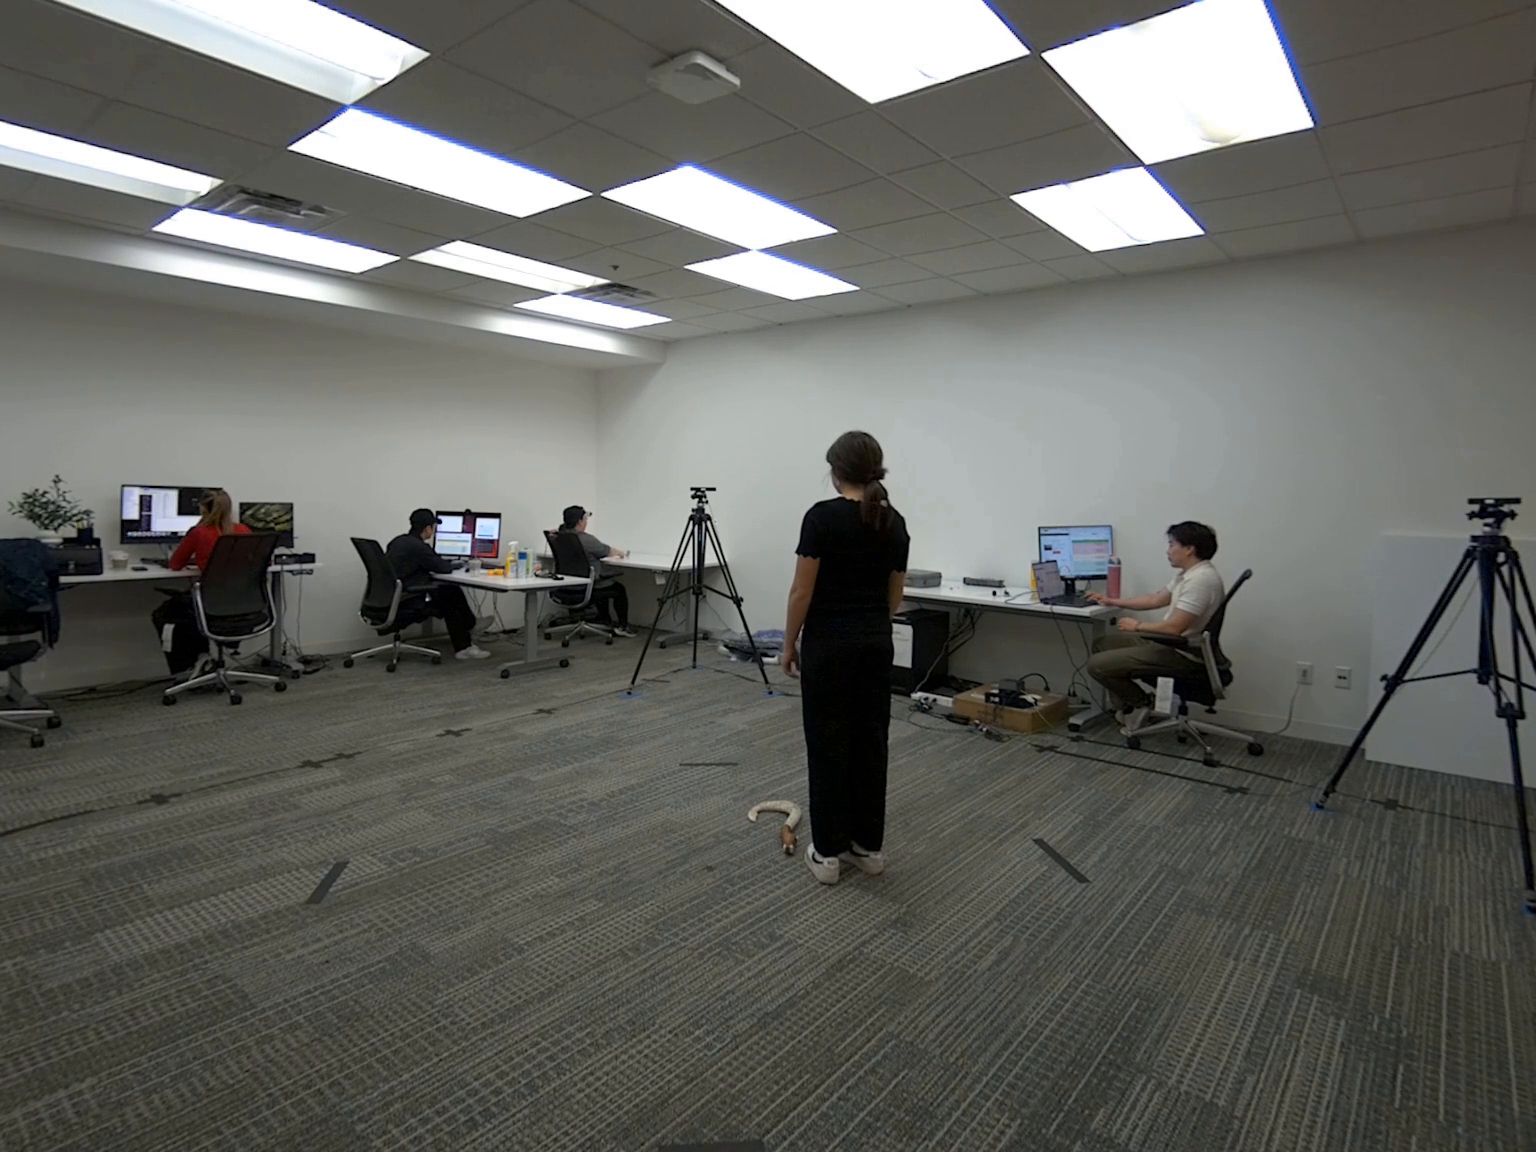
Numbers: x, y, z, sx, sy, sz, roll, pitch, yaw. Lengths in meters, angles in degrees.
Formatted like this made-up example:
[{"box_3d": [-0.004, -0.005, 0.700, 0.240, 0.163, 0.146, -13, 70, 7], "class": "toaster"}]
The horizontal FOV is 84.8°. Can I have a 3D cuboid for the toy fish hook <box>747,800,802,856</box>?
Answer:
[{"box_3d": [0.020, 1.017, 3.475, 0.225, 0.048, 0.507, -6, 5, 0], "class": "toy fish hook"}]
